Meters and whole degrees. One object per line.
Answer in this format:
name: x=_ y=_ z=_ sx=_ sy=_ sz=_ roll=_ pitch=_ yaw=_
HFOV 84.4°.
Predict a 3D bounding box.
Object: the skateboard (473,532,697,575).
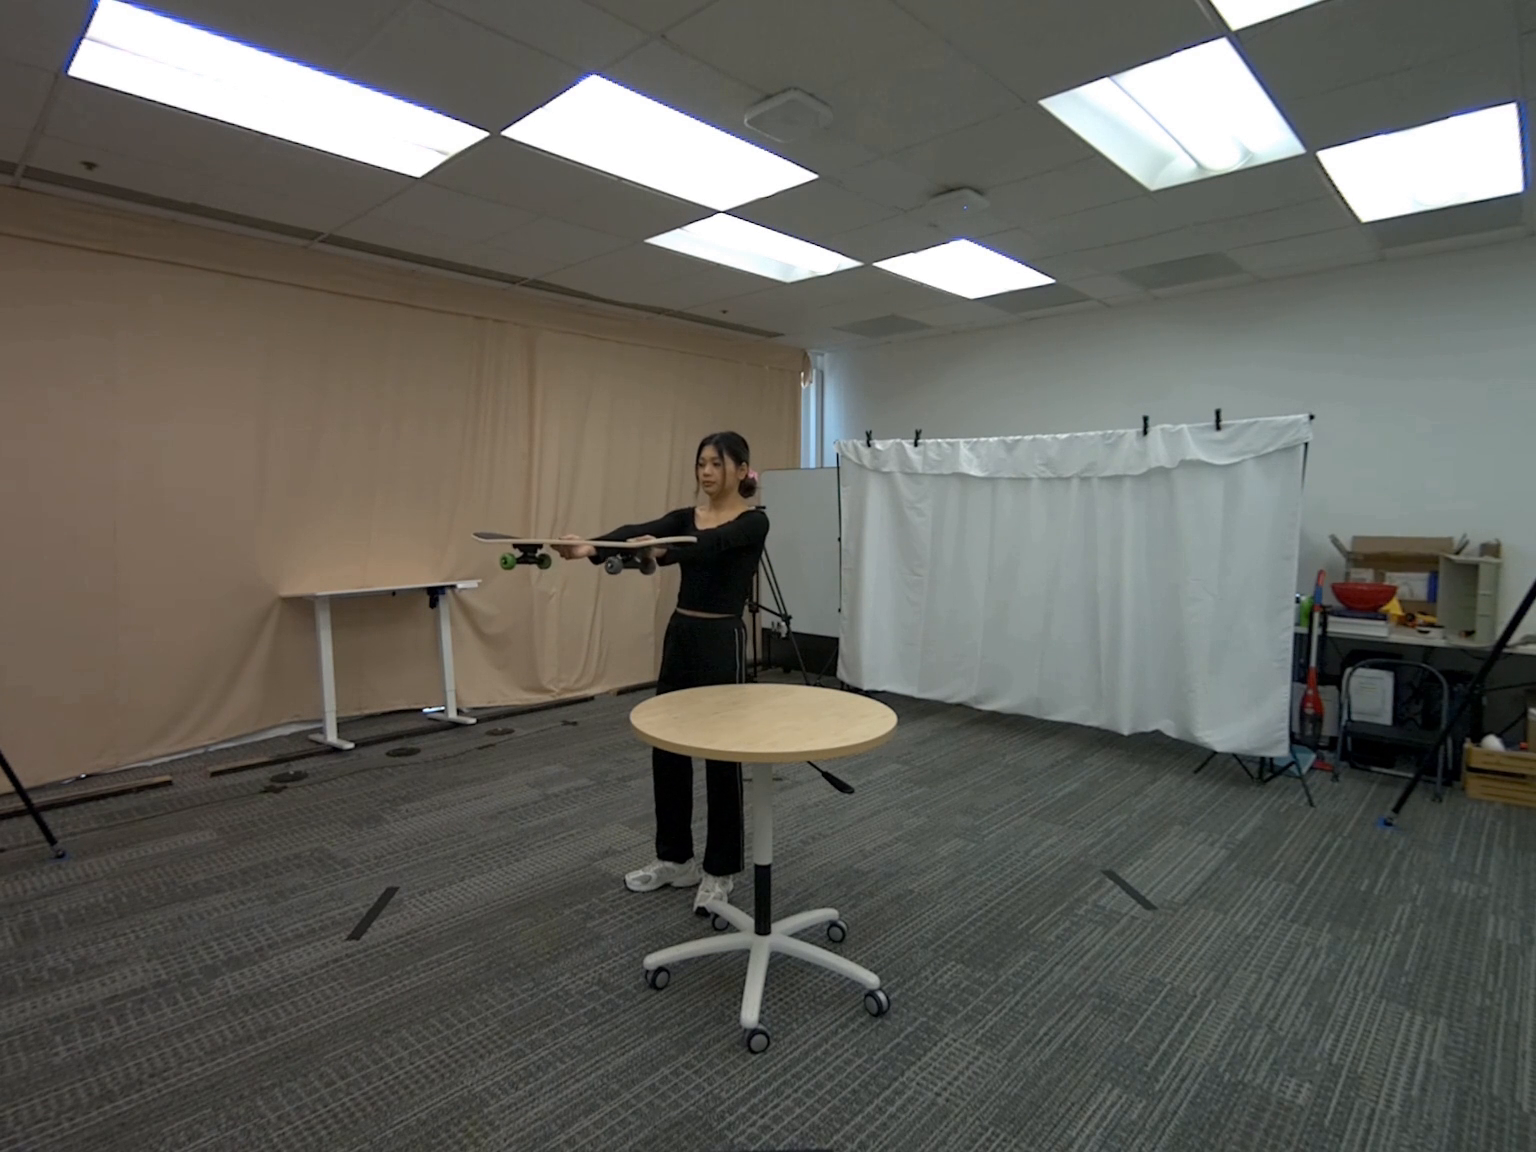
skateboard: x=-0.543 y=-0.068 z=2.450 sx=0.809 sy=0.110 sz=0.188 roll=3 pitch=1 yaw=32
